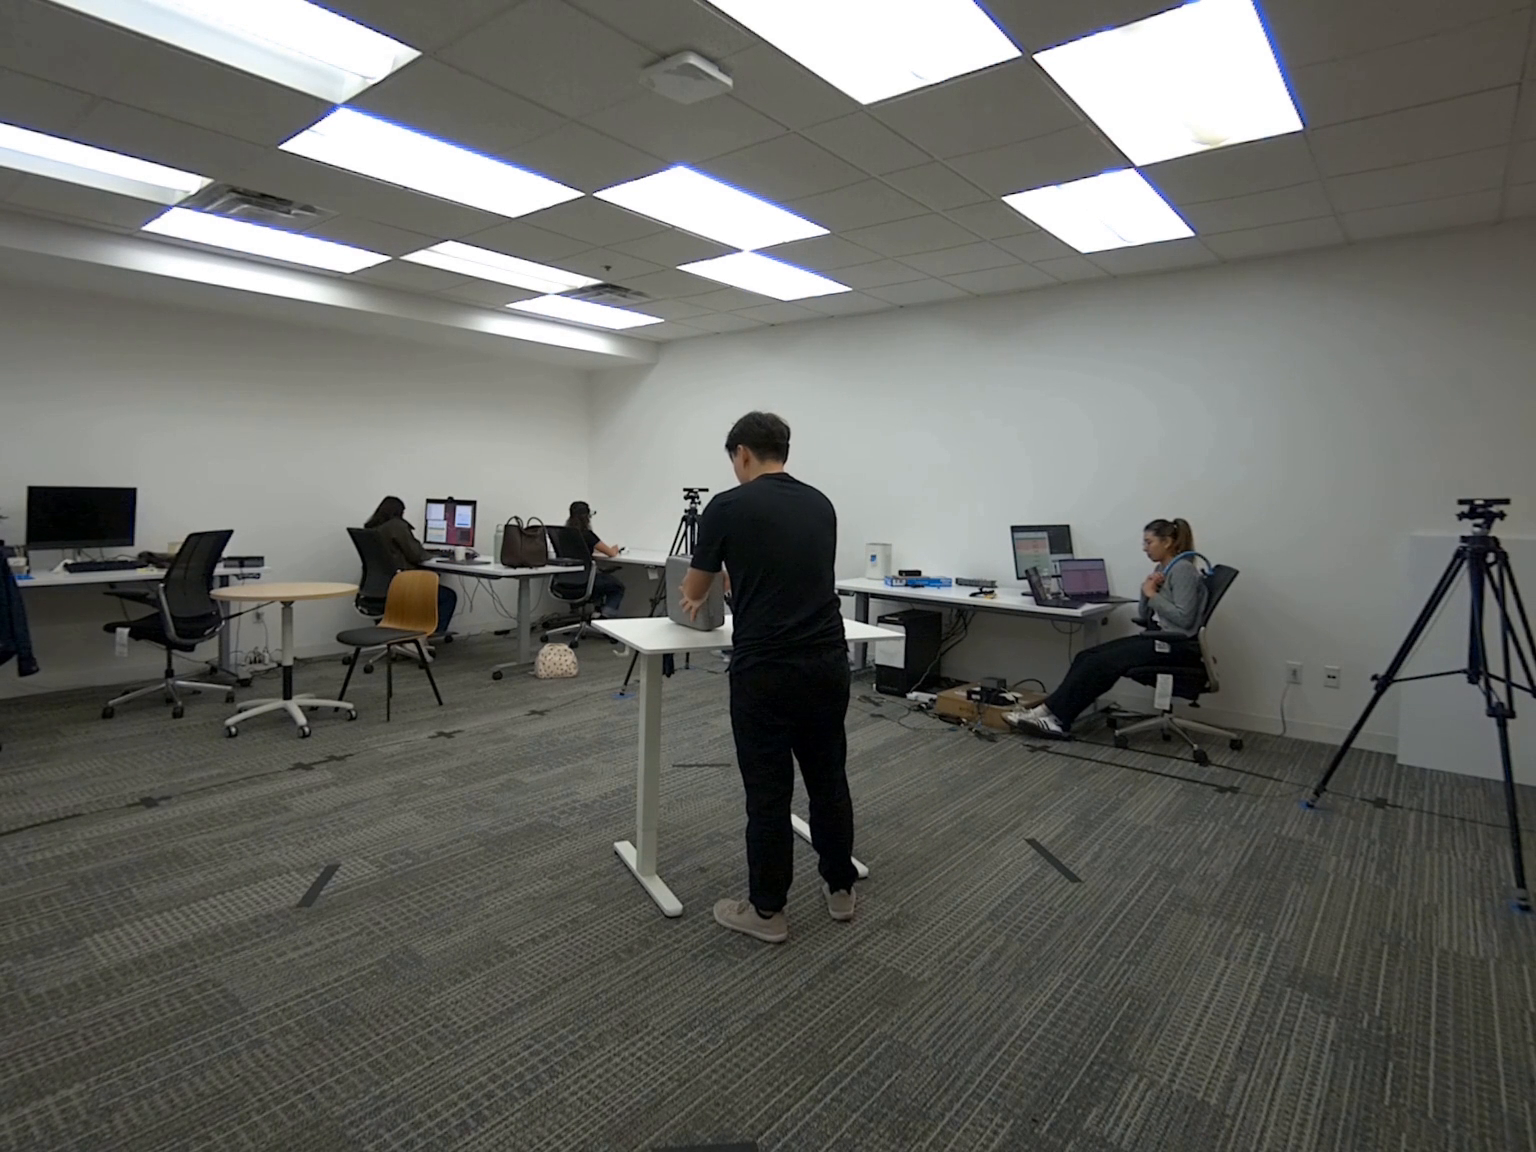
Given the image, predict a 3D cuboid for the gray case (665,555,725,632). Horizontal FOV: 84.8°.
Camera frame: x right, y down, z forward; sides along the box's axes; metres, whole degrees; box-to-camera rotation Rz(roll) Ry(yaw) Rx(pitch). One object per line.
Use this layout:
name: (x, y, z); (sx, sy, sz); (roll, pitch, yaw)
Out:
gray case: (-0.281, 0.054, 3.113); (0.102, 0.254, 0.270); (-7, 12, -33)
